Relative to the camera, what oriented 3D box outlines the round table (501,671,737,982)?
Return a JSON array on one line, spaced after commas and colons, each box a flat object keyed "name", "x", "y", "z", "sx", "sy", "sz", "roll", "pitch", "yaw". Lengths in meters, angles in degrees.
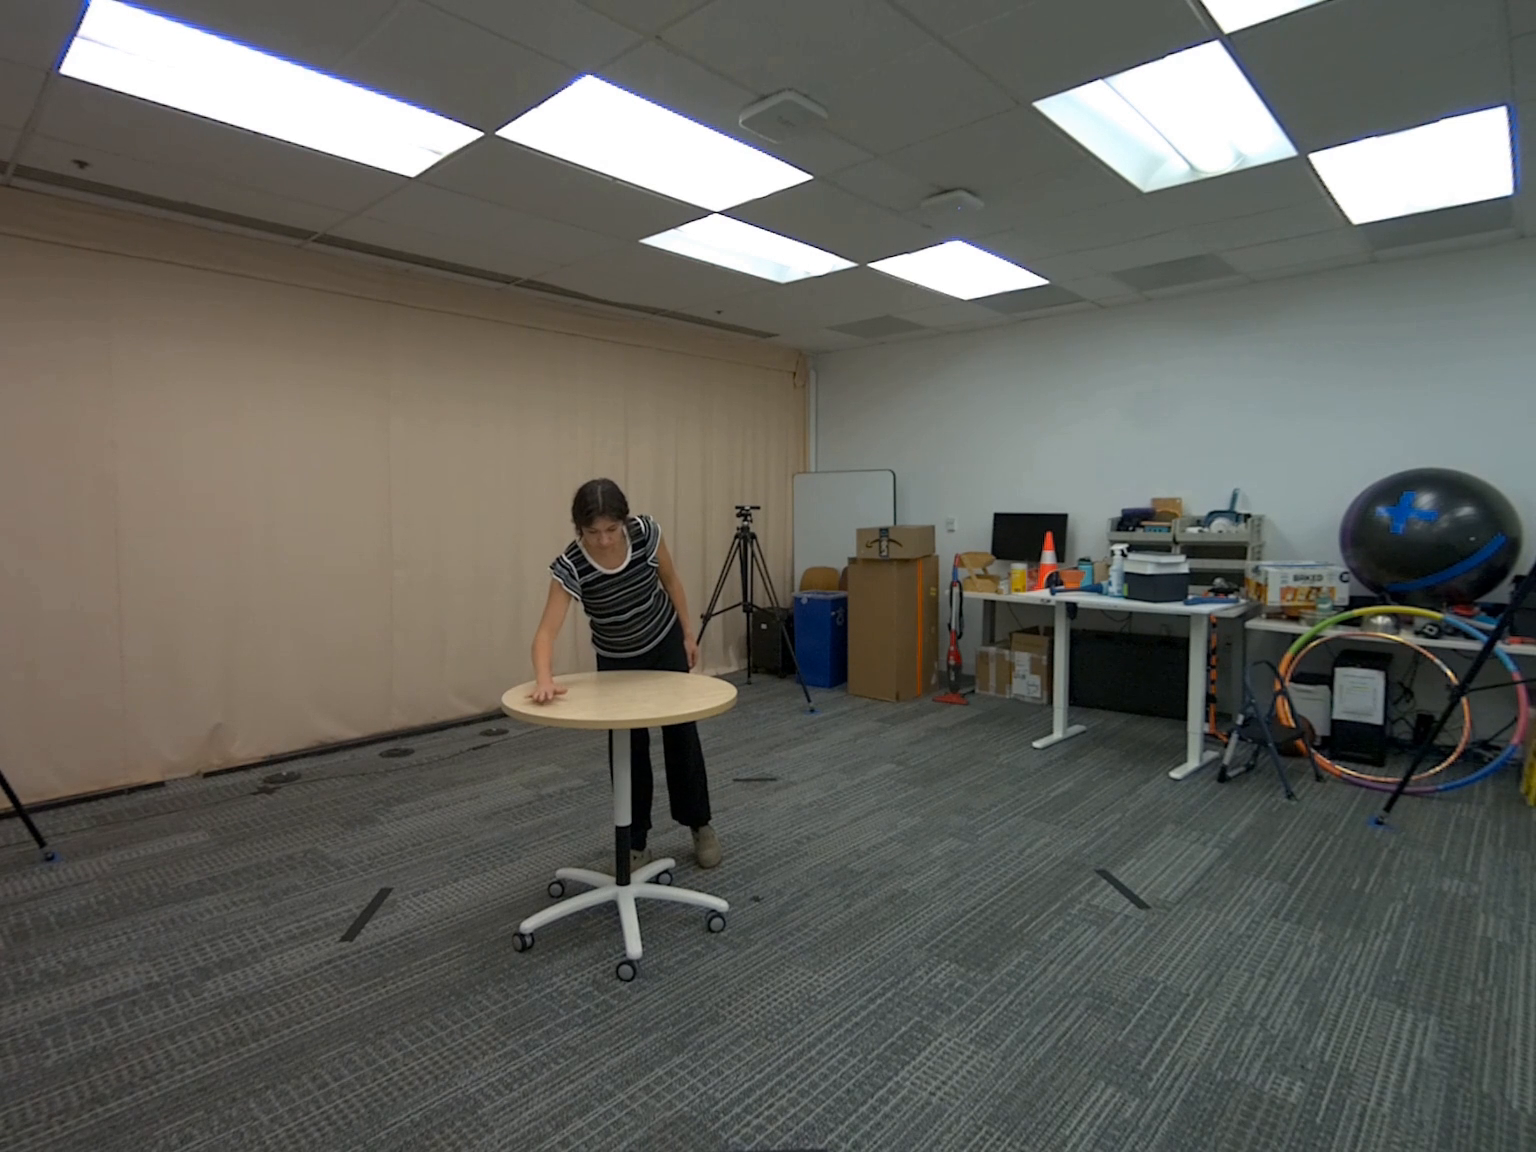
[{"name": "round table", "x": -0.483, "y": 0.774, "z": 2.784, "sx": 0.763, "sy": 0.792, "sz": 0.766, "roll": 0, "pitch": 3, "yaw": -2}]
